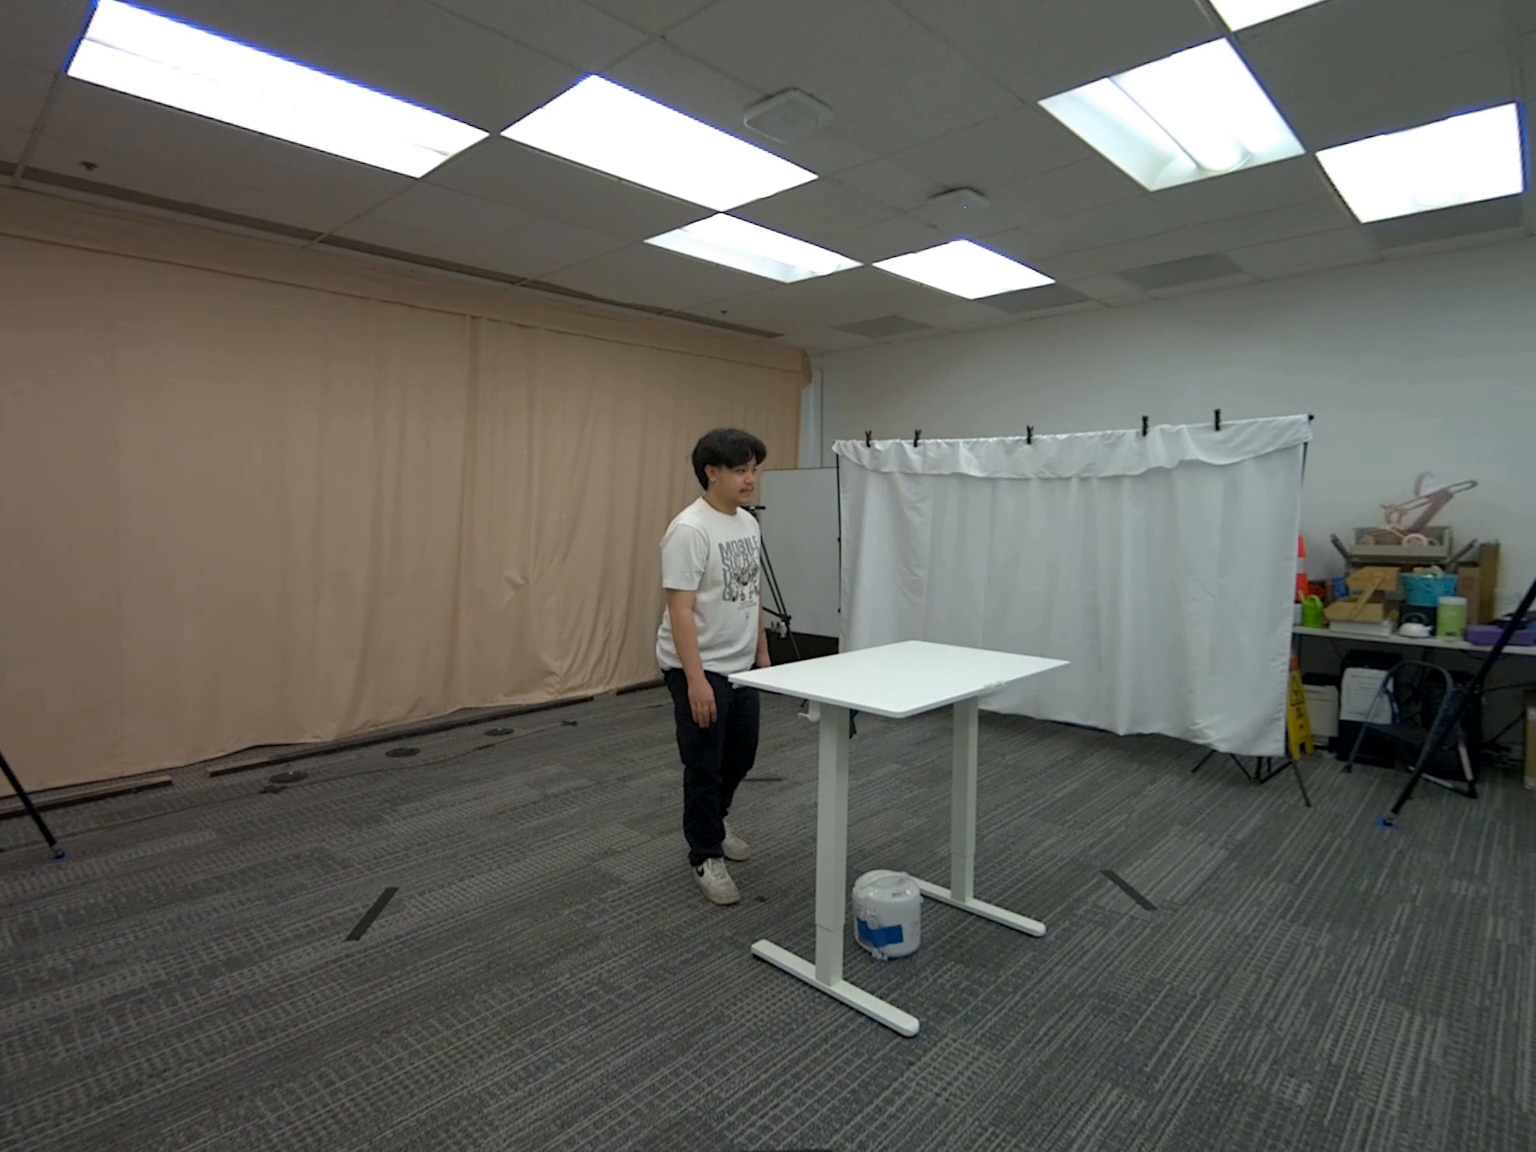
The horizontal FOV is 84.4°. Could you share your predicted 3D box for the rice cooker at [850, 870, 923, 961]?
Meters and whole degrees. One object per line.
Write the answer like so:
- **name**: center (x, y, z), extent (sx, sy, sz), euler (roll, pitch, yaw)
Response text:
- **rice cooker**: center (0.380, 1.054, 2.667), extent (0.216, 0.232, 0.222), euler (-1, 4, -18)
